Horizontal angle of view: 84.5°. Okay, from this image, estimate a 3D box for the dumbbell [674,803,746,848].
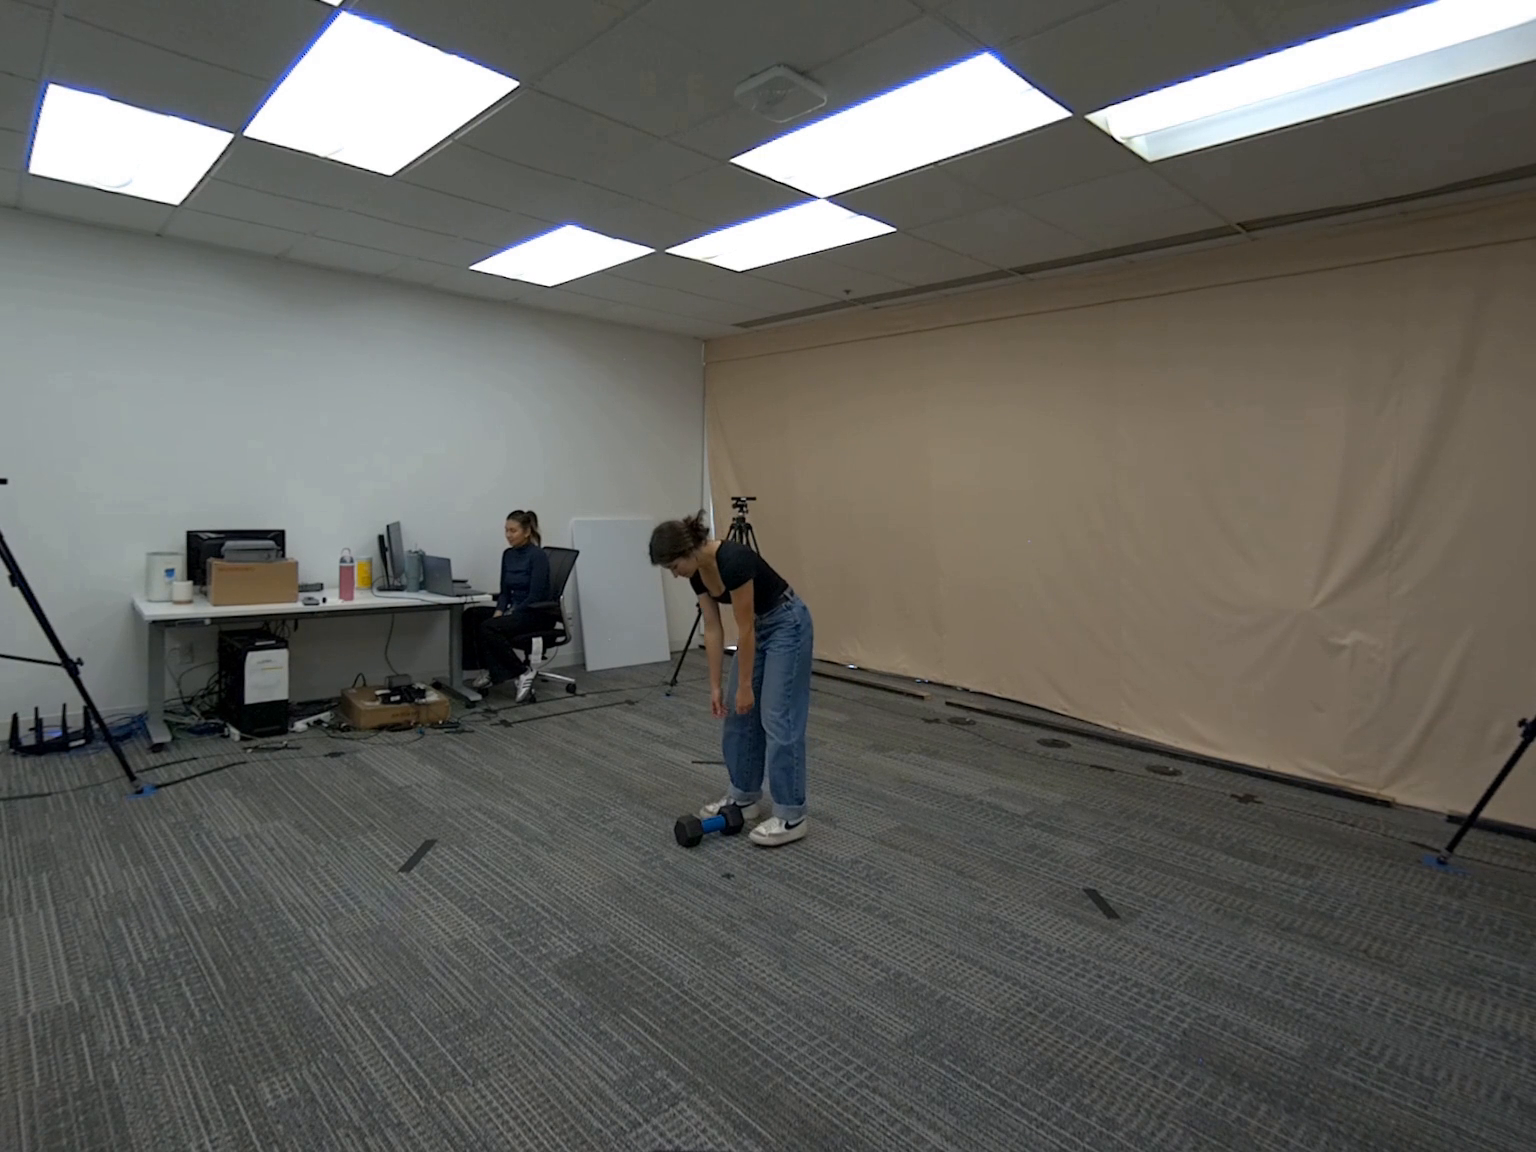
[{"bbox_3d":[-0.249,1.021,3.440,0.287,0.125,0.109,-1,-26,-40],"label":"dumbbell"}]
